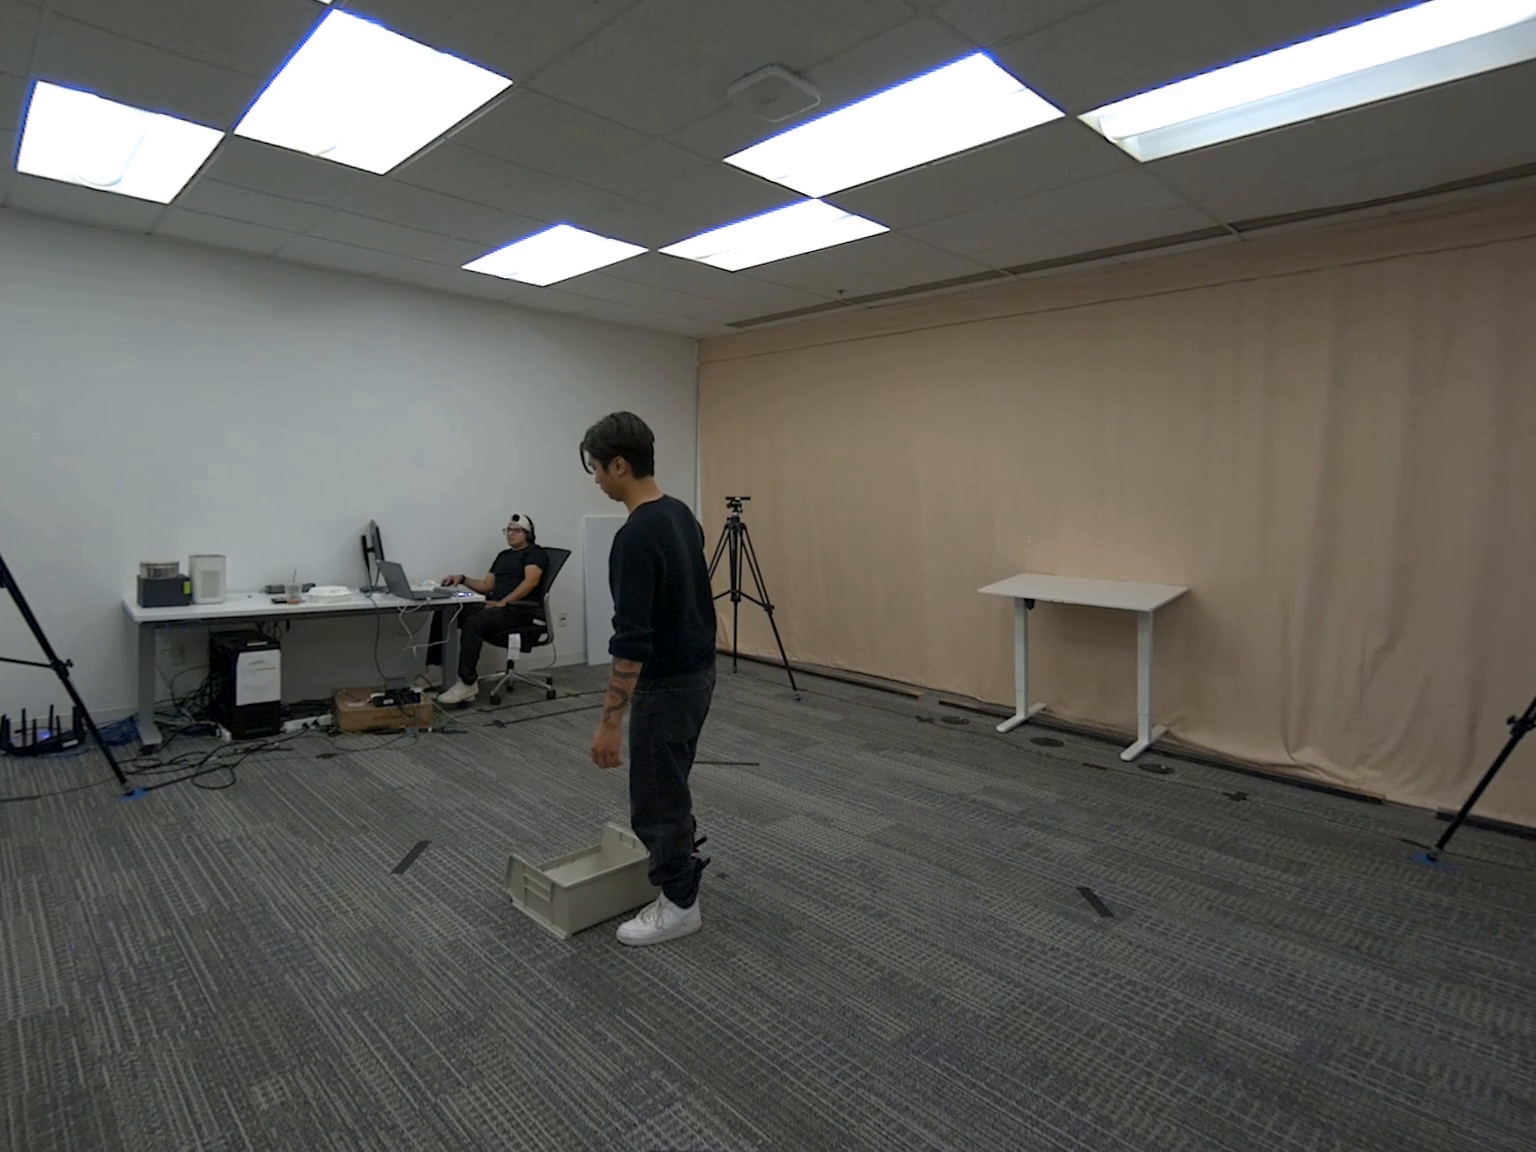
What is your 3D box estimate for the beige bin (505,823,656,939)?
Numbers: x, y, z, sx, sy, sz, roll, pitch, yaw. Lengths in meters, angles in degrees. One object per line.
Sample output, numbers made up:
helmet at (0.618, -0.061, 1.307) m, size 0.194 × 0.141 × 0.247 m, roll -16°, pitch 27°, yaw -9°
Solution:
beige bin at (-0.631, 1.031, 2.888) m, size 0.387 × 0.188 × 0.412 m, roll 8°, pitch 7°, yaw 44°
